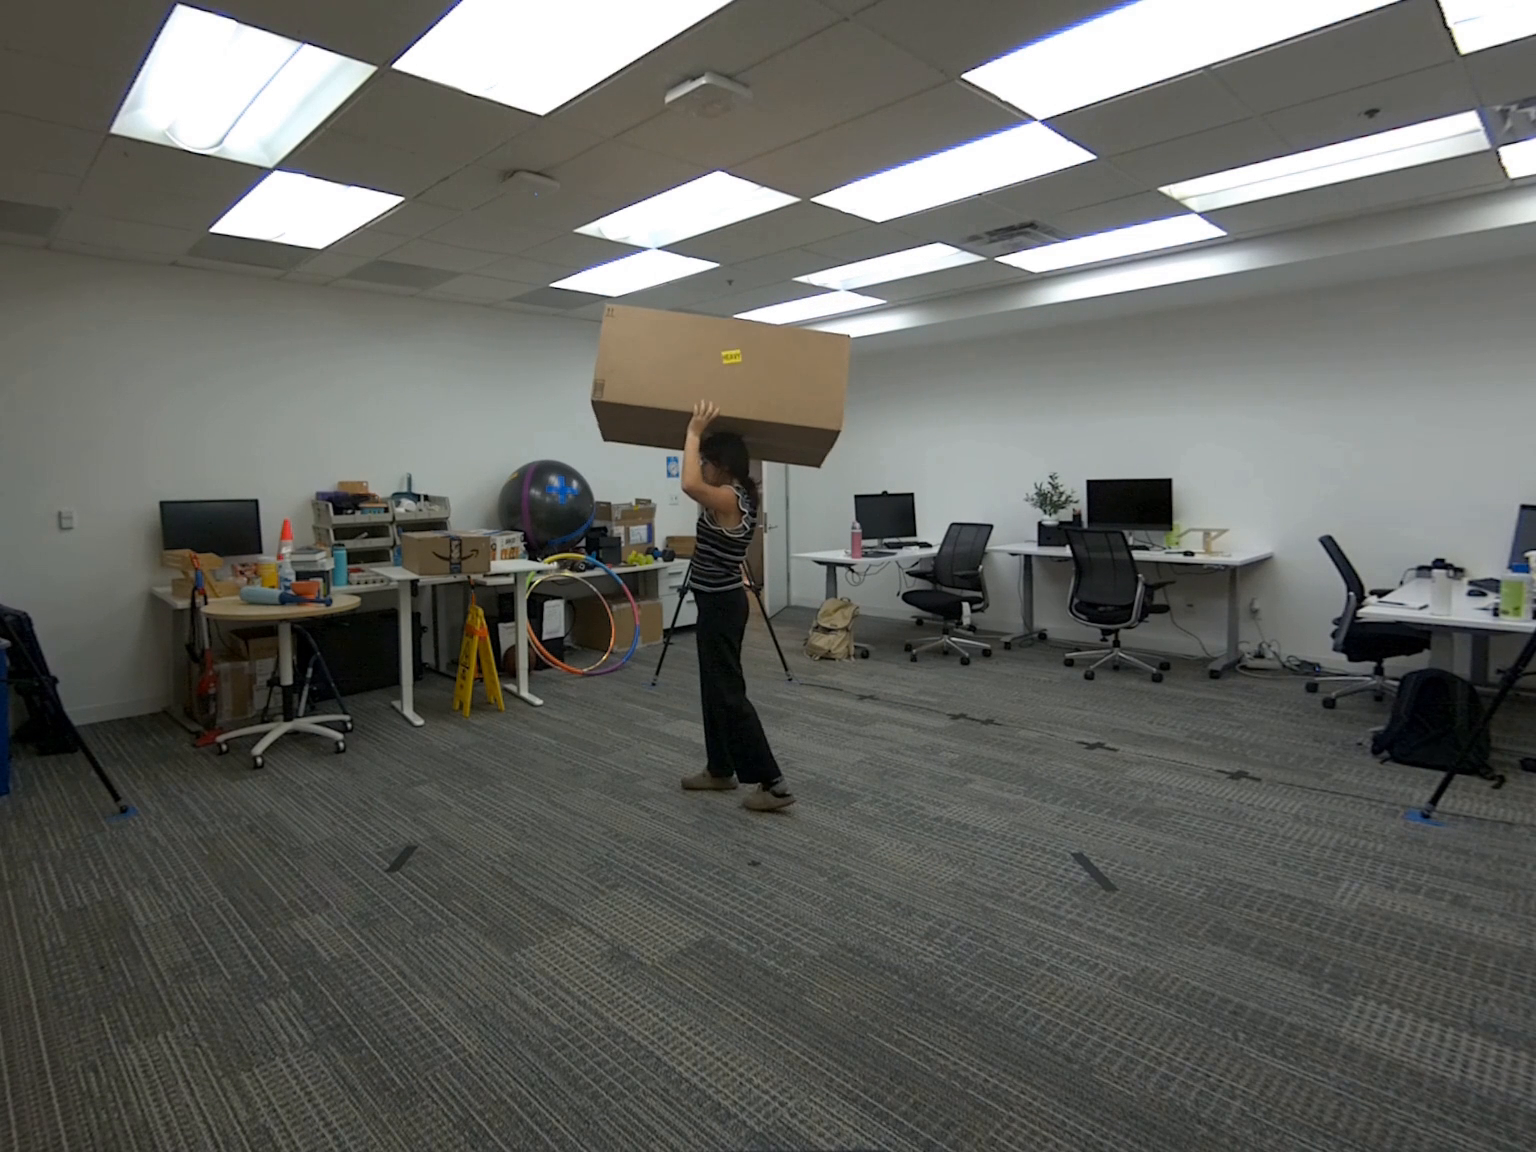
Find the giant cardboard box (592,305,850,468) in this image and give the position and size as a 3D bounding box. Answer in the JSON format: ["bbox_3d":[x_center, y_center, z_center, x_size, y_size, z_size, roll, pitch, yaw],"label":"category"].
[{"bbox_3d":[-0.211,-0.814,3.745,1.025,0.430,0.573,7,-10,-1],"label":"giant cardboard box"}]
